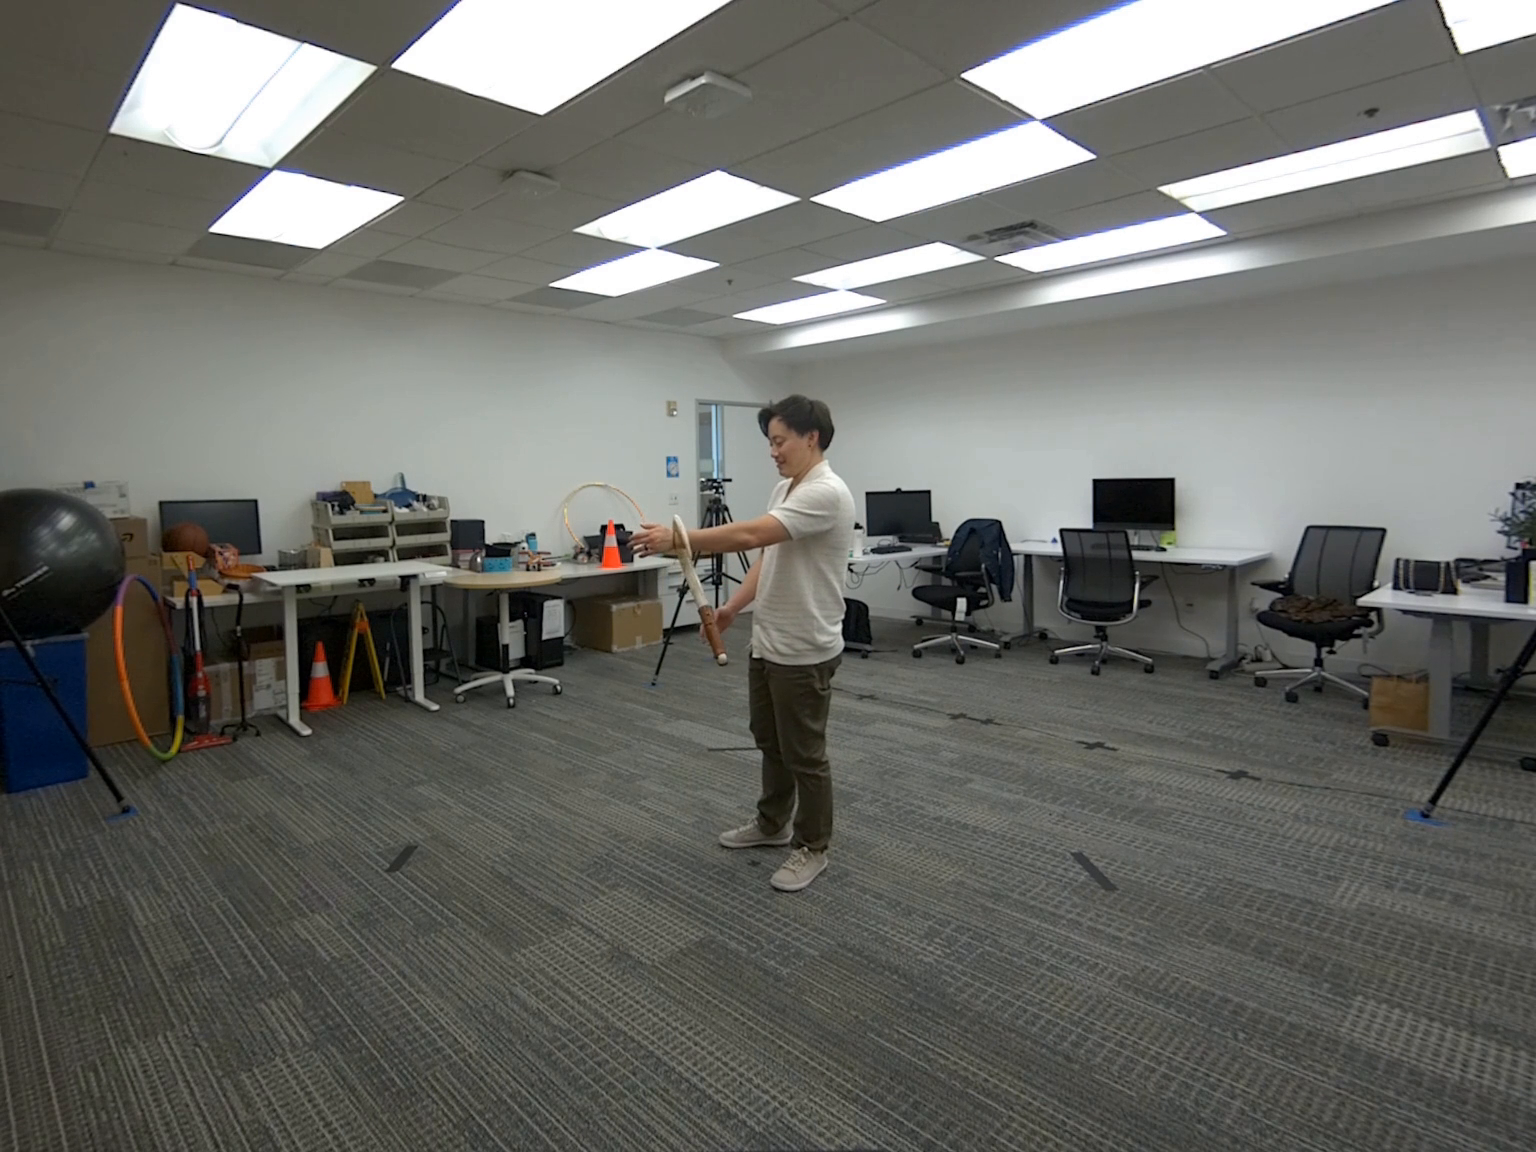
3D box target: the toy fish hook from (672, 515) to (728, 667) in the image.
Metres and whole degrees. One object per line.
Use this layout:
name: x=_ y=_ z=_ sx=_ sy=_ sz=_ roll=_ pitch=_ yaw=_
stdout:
toy fish hook: x=-0.225 y=0.039 z=2.655 sx=0.048 sy=0.522 sz=0.219 roll=-16 pitch=-29 yaw=-7
